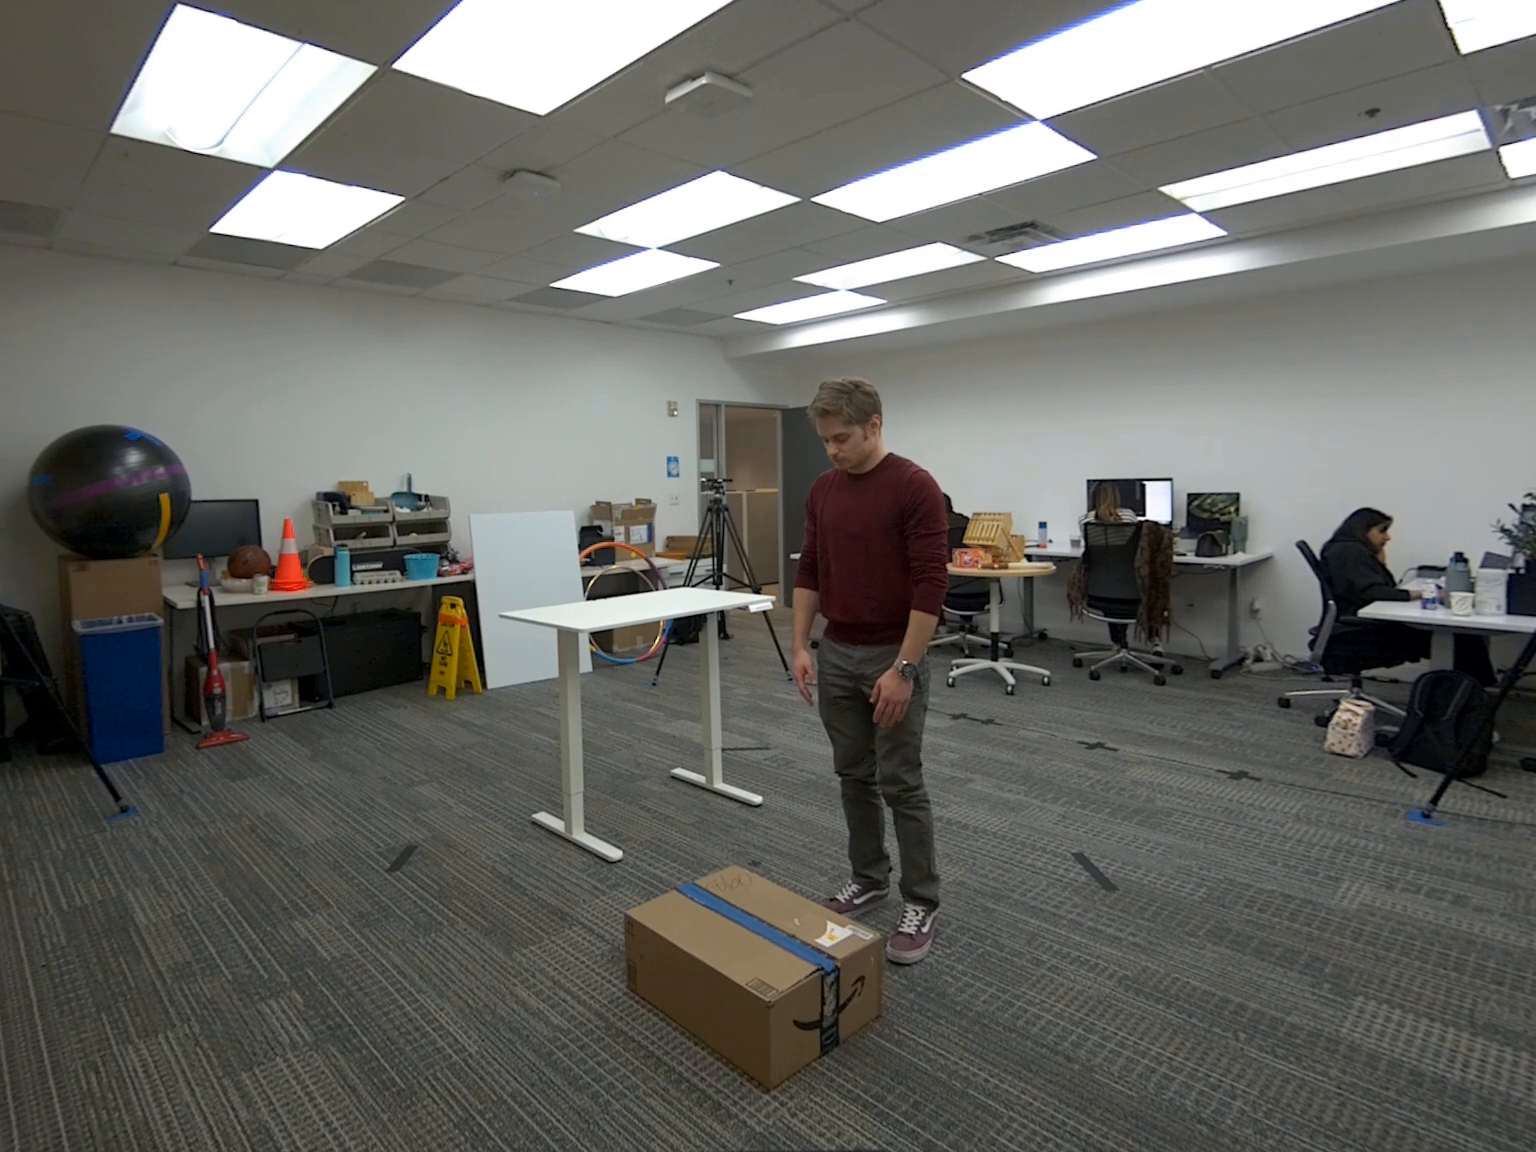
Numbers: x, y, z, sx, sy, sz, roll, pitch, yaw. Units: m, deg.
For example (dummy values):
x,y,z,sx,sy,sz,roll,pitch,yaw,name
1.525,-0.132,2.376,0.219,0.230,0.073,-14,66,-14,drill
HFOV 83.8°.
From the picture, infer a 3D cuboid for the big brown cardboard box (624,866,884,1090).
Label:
x,y,z,sx,sy,sz,roll,pitch,yaw,name
-0.040,1.034,2.280,0.407,0.232,0.607,-7,8,-44,big brown cardboard box
